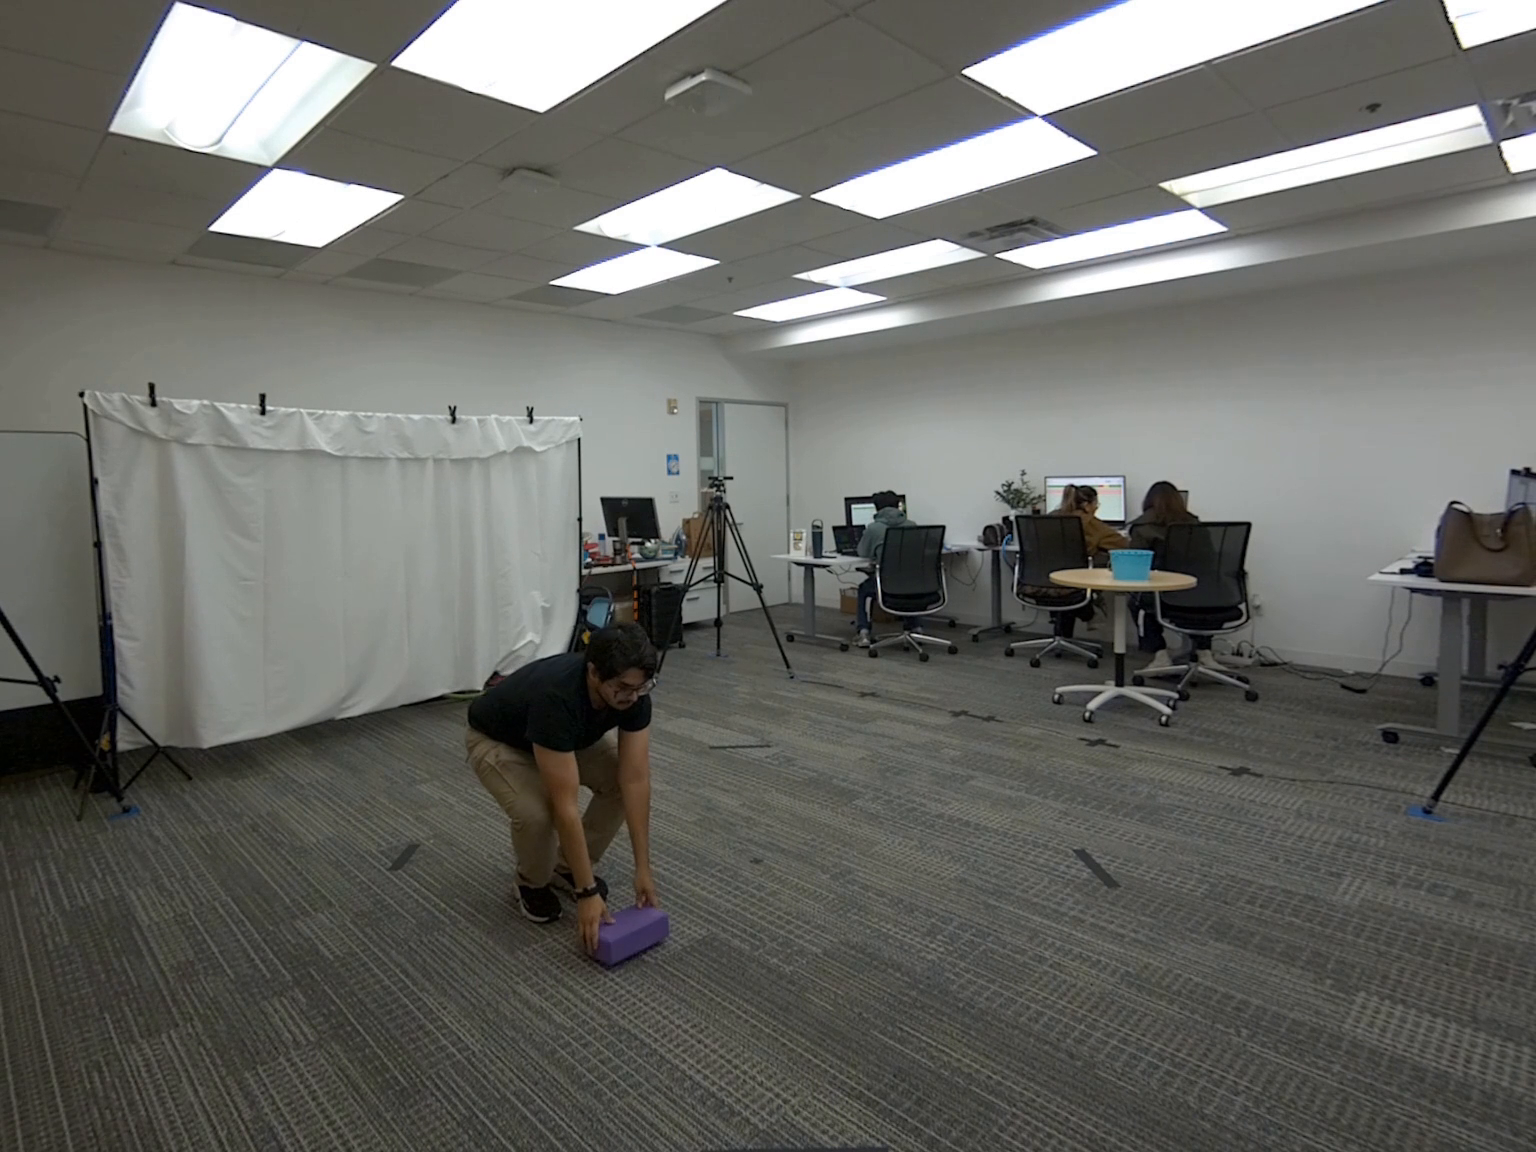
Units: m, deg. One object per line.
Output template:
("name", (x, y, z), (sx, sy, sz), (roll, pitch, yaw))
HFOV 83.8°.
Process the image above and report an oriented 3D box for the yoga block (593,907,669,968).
("yoga block", (-0.425, 1.050, 2.546), (0.153, 0.076, 0.223), (-1, 4, 43))
